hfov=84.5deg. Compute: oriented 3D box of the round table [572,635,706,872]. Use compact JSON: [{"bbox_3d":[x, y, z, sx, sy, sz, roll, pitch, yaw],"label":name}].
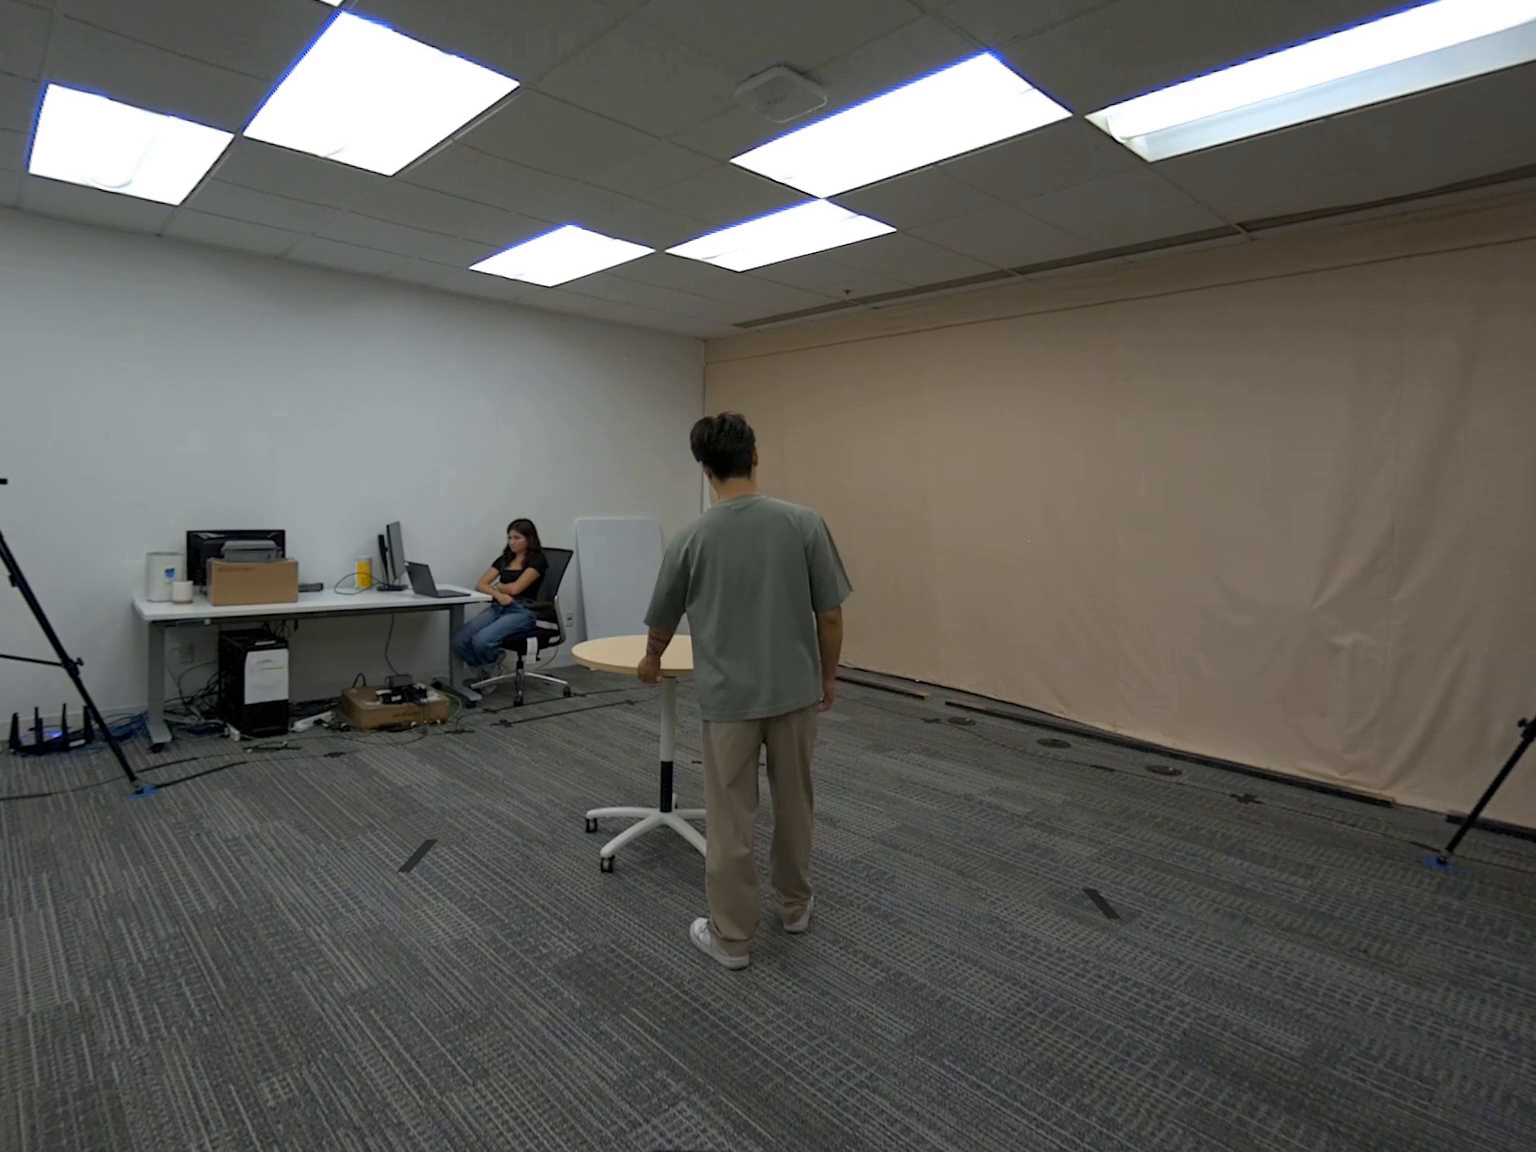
[{"bbox_3d":[-0.422,0.683,3.339,0.784,0.785,0.787,1,3,-1],"label":"round table"}]
